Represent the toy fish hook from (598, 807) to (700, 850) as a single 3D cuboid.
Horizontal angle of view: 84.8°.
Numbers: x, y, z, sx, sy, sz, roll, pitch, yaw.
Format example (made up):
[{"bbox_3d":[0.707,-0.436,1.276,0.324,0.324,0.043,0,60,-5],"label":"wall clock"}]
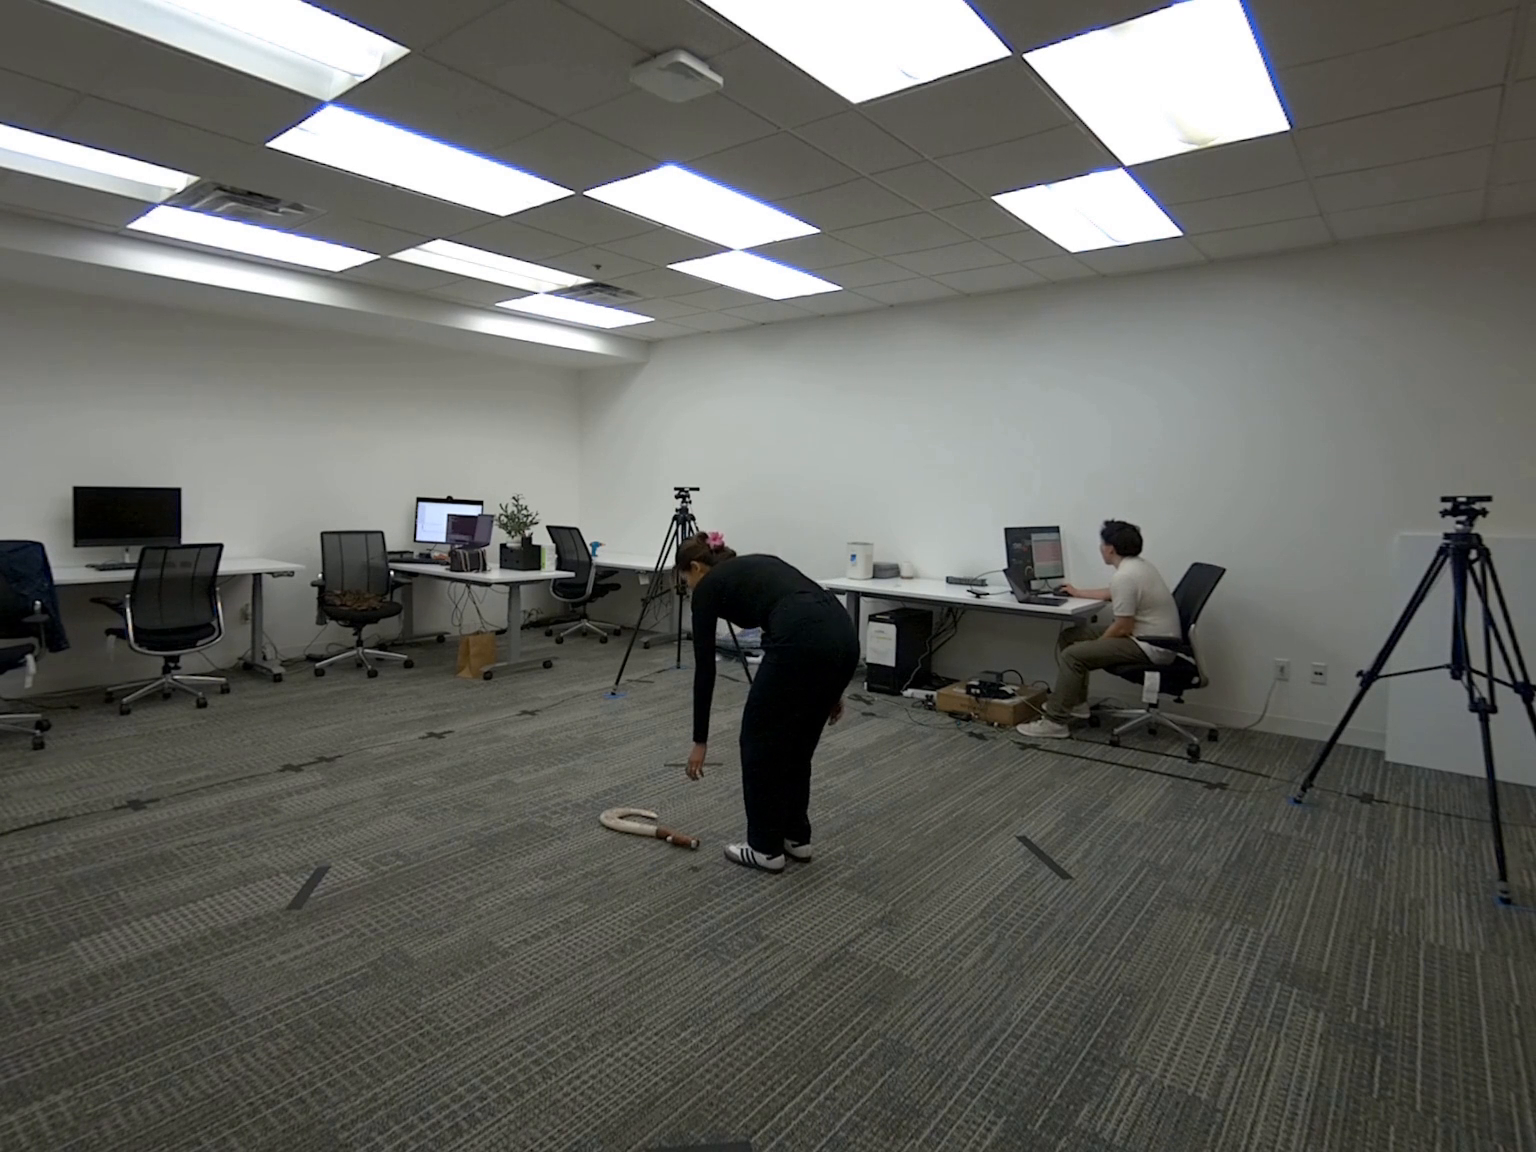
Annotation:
[{"bbox_3d":[-0.469,1.009,3.445,0.523,0.048,0.219,5,8,33],"label":"toy fish hook"}]
